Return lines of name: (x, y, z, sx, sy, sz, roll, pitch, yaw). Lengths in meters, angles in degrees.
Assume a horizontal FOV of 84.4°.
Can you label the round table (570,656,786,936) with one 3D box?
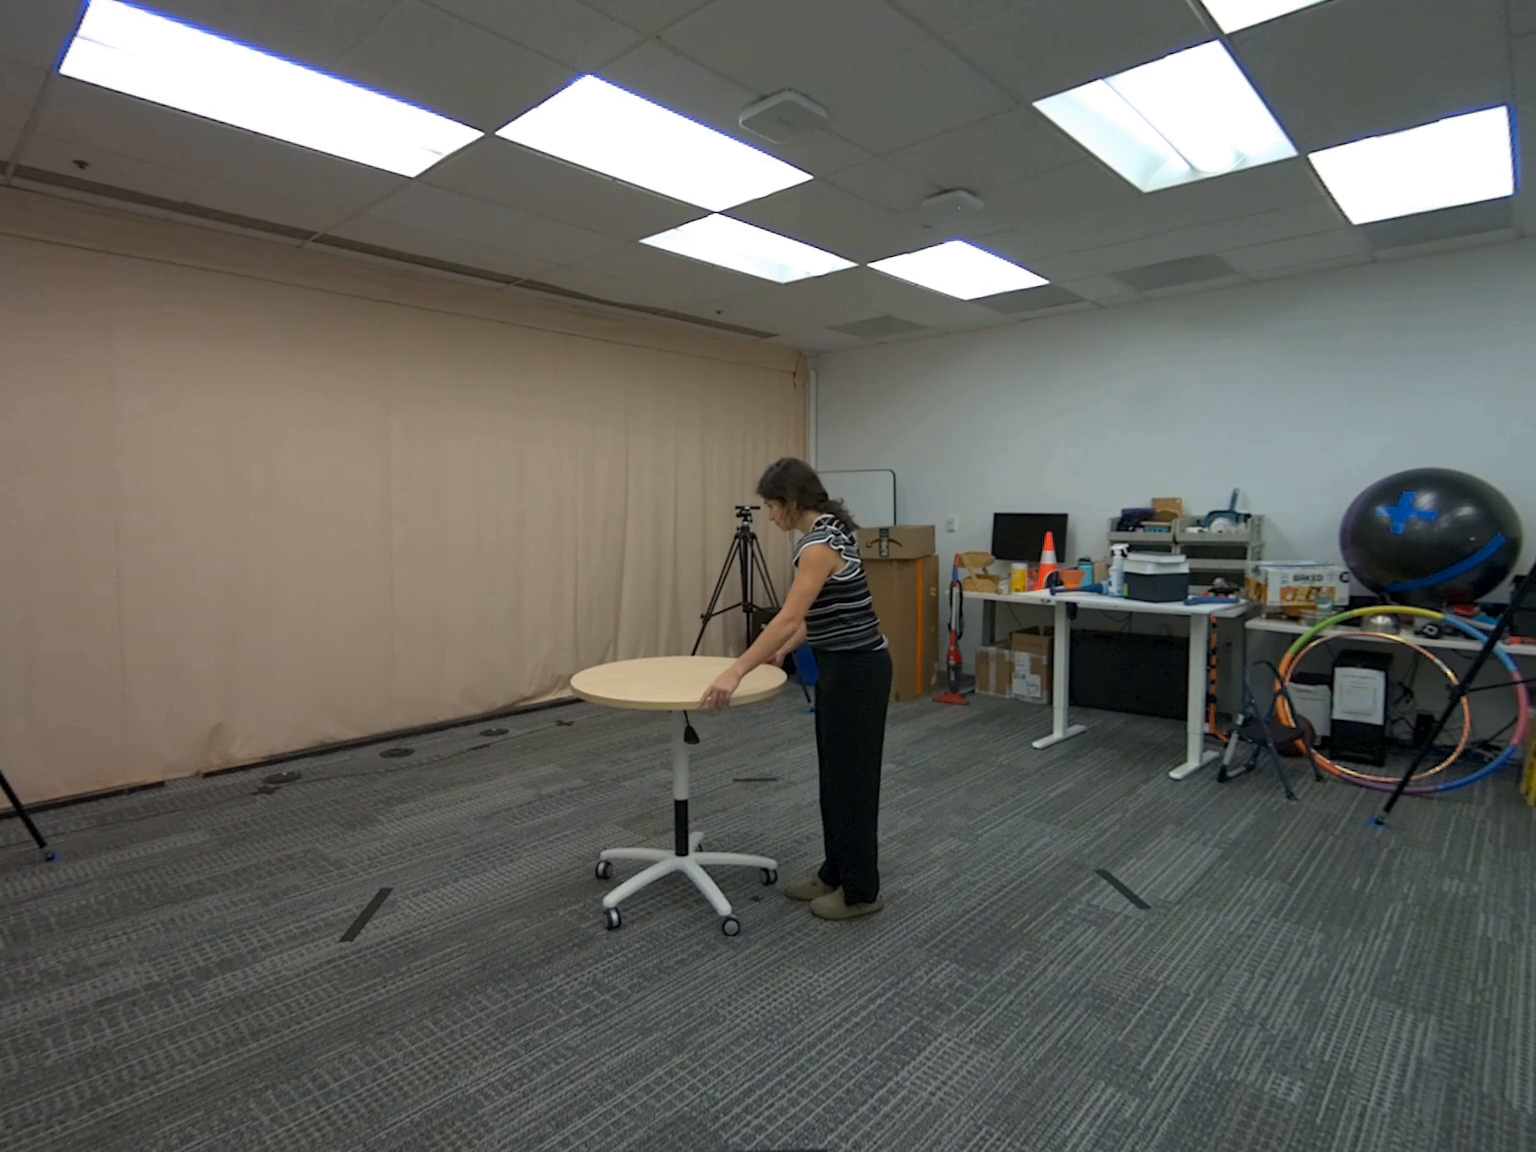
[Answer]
round table: (-0.321, 0.749, 3.027, 0.784, 0.784, 0.788, 0, 4, -2)
